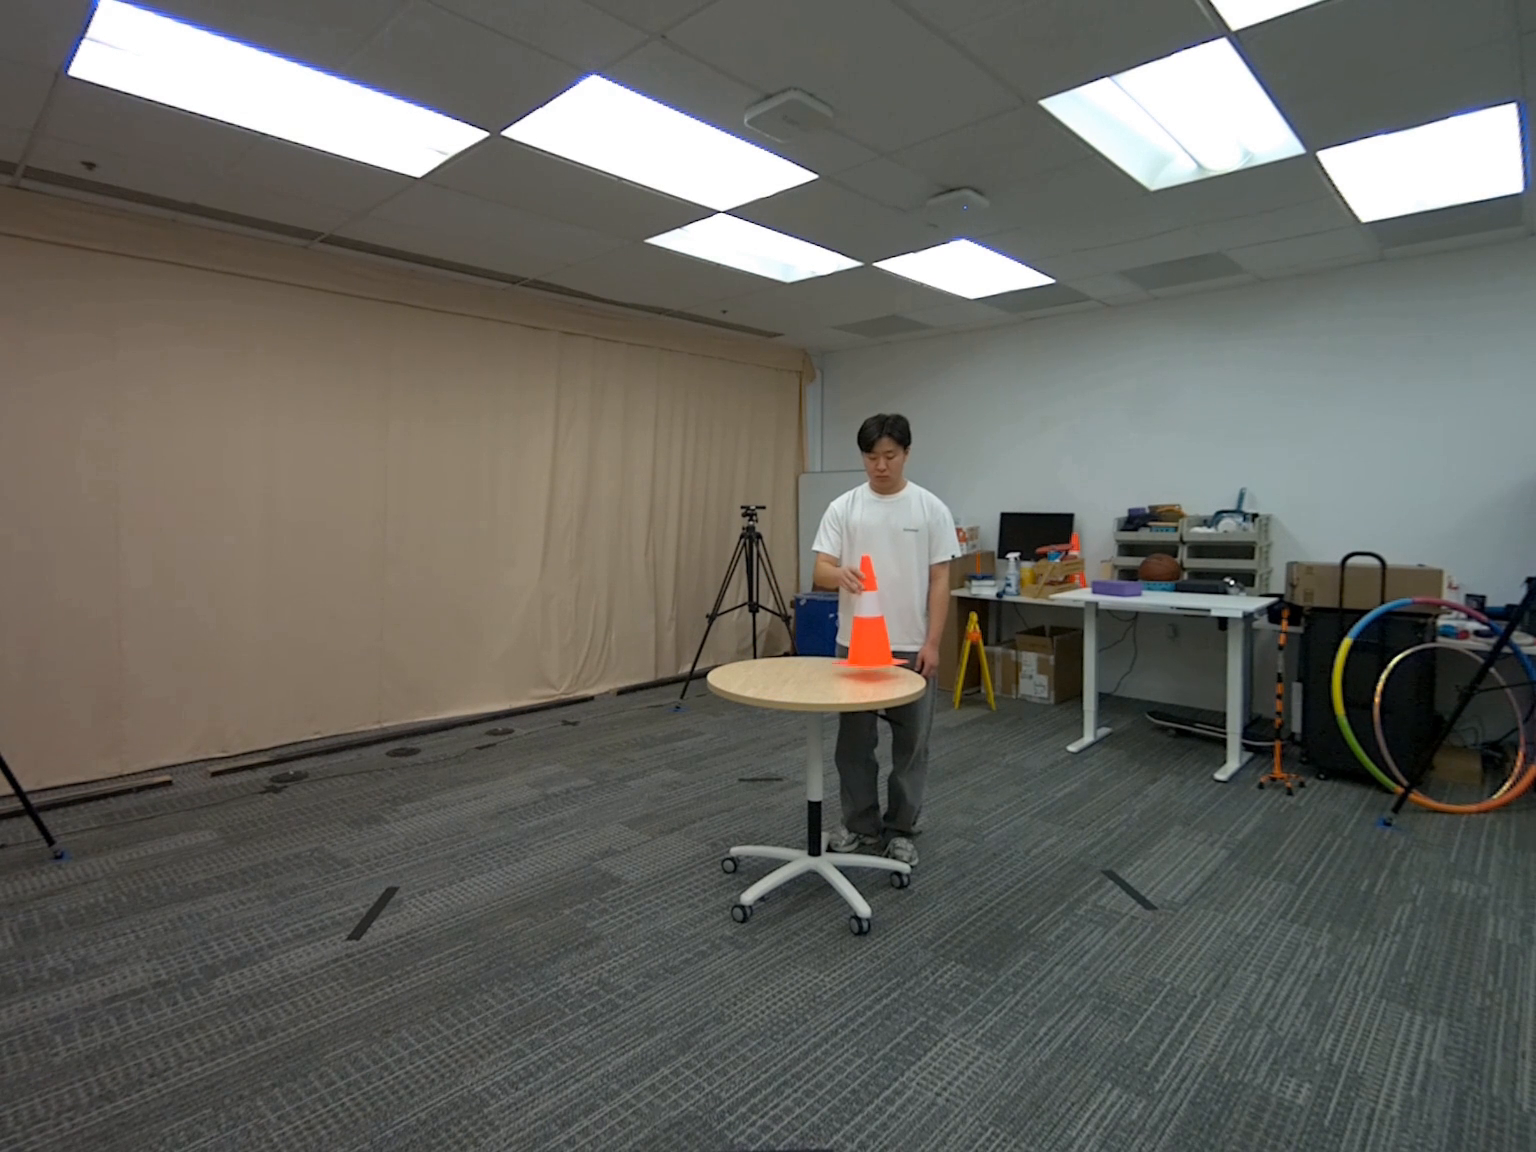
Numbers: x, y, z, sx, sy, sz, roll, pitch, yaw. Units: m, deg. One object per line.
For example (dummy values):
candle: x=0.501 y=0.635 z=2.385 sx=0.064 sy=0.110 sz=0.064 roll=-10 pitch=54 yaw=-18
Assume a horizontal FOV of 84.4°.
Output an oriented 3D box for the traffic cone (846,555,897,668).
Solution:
traffic cone: x=0.356 y=0.115 z=2.984 sx=0.211 sy=0.383 sz=0.198 roll=0 pitch=3 yaw=29
